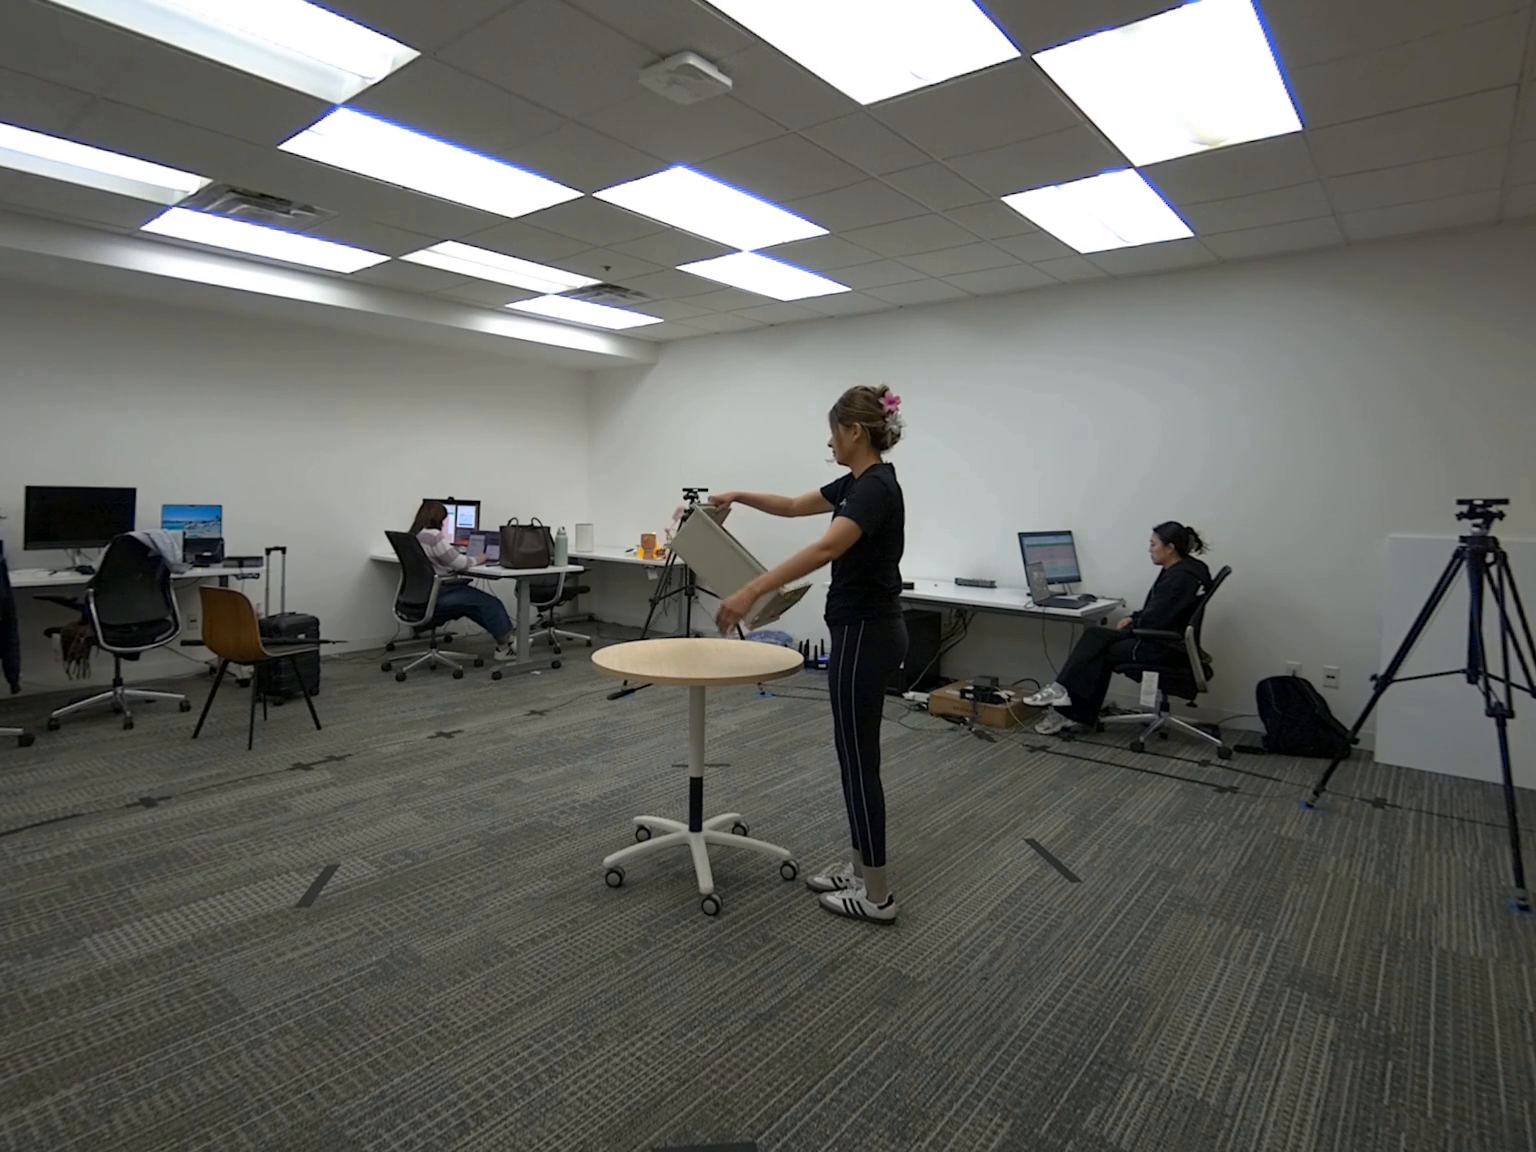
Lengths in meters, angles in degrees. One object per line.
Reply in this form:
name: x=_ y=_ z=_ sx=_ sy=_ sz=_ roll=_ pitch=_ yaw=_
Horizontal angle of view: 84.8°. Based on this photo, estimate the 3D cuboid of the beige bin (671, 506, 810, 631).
beige bin: x=-0.106 y=-0.046 z=2.925 sx=0.431 sy=0.189 sz=0.370 roll=45 pitch=17 yaw=13
